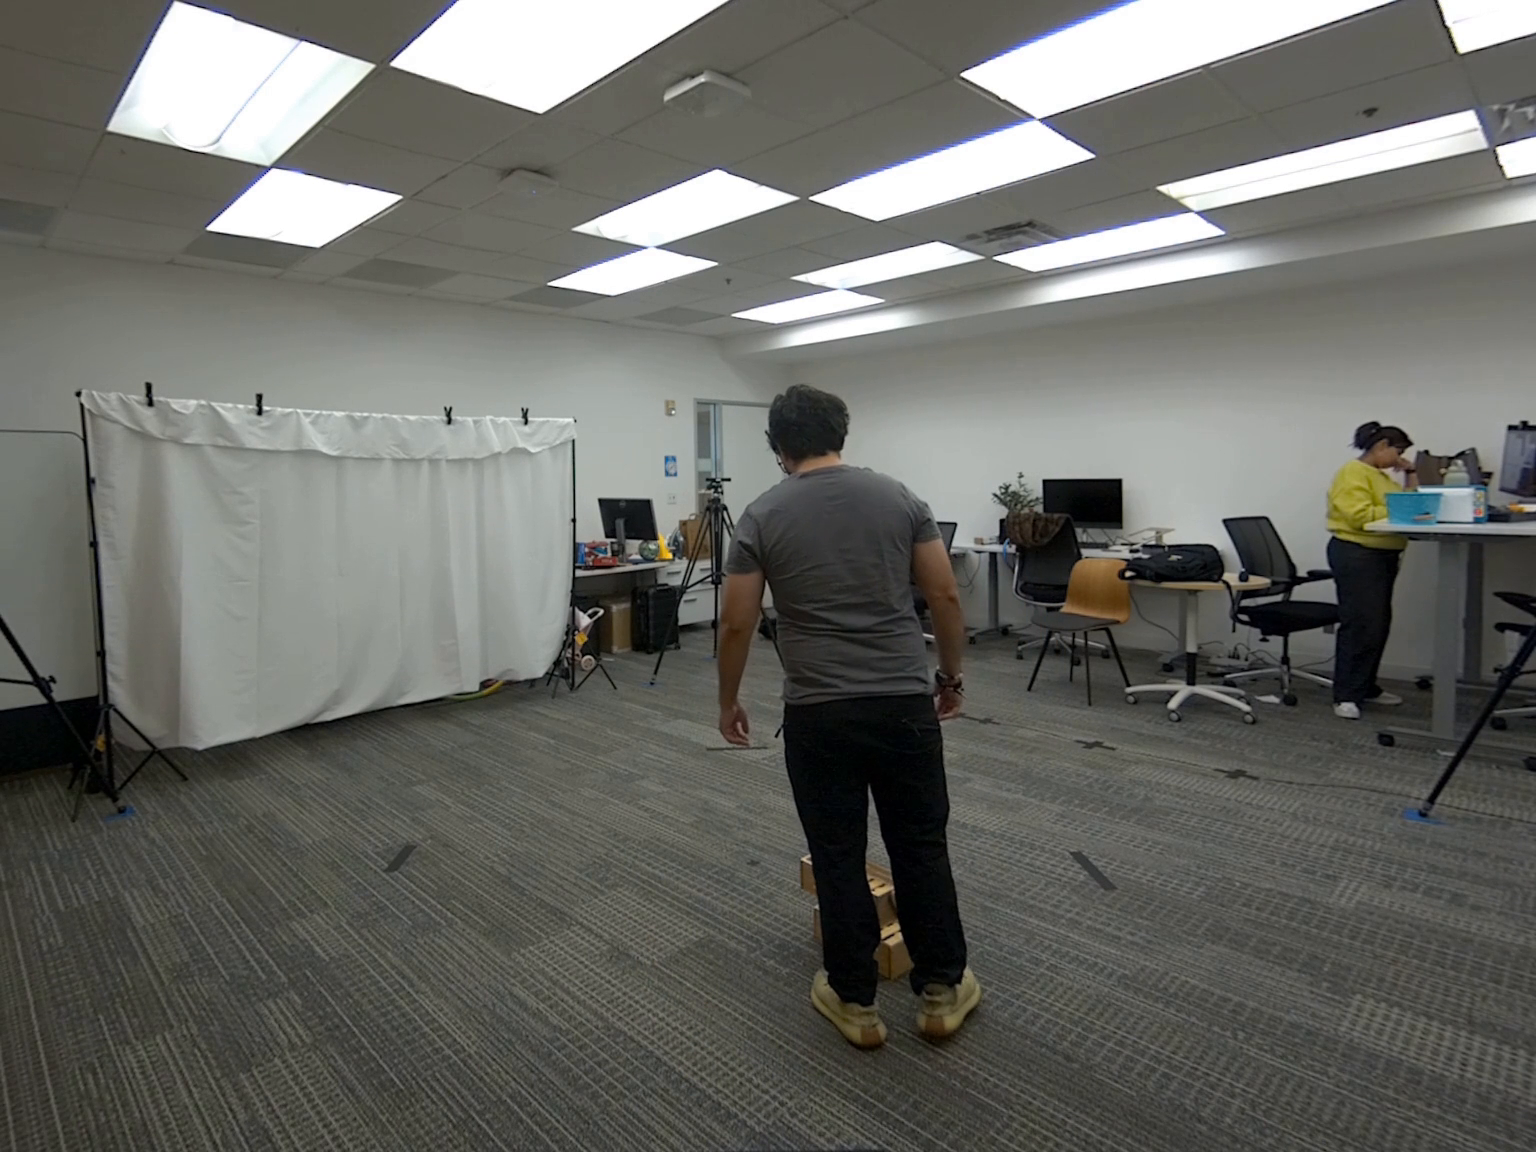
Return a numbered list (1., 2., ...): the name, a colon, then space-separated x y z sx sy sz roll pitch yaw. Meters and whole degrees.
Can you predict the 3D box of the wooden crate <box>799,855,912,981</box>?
1. wooden crate: 0.324 0.972 2.534 0.294 0.272 0.334 -7 8 -40
